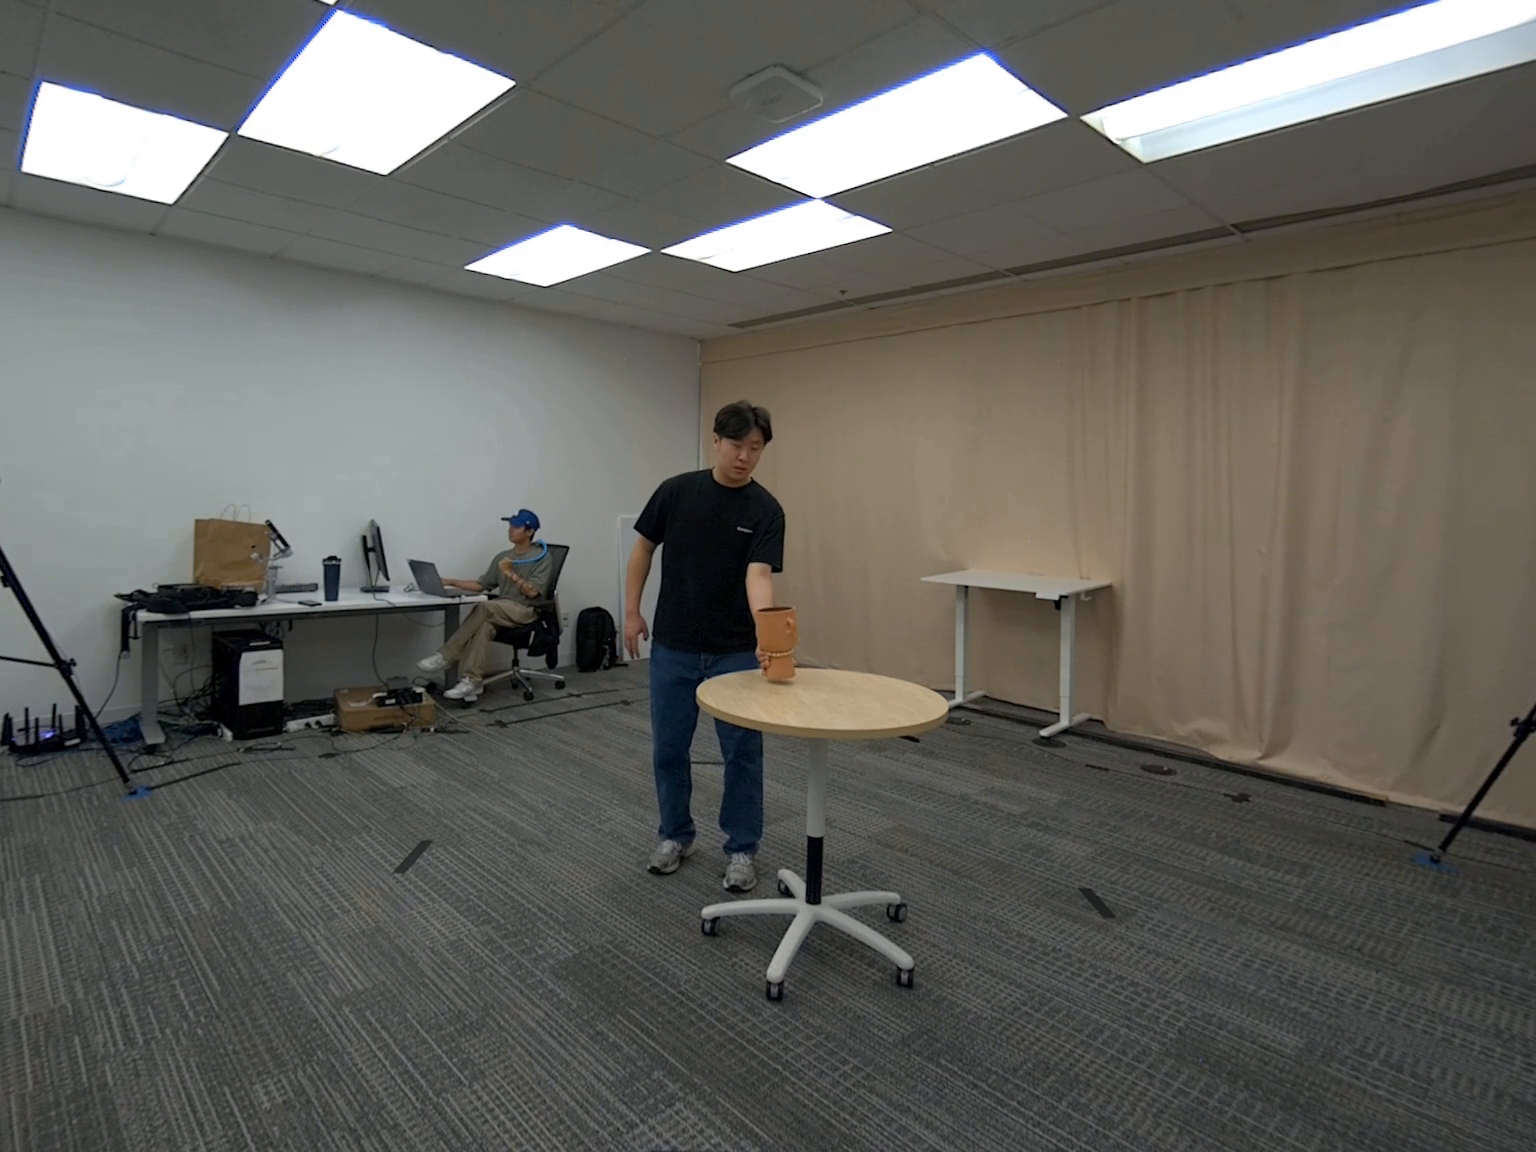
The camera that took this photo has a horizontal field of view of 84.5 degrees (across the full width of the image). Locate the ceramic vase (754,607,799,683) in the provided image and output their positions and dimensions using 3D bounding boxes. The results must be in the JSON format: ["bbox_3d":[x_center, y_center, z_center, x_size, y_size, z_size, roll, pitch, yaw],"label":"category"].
[{"bbox_3d":[0.023,0.217,2.718,0.135,0.219,0.158,-3,4,8],"label":"ceramic vase"}]
